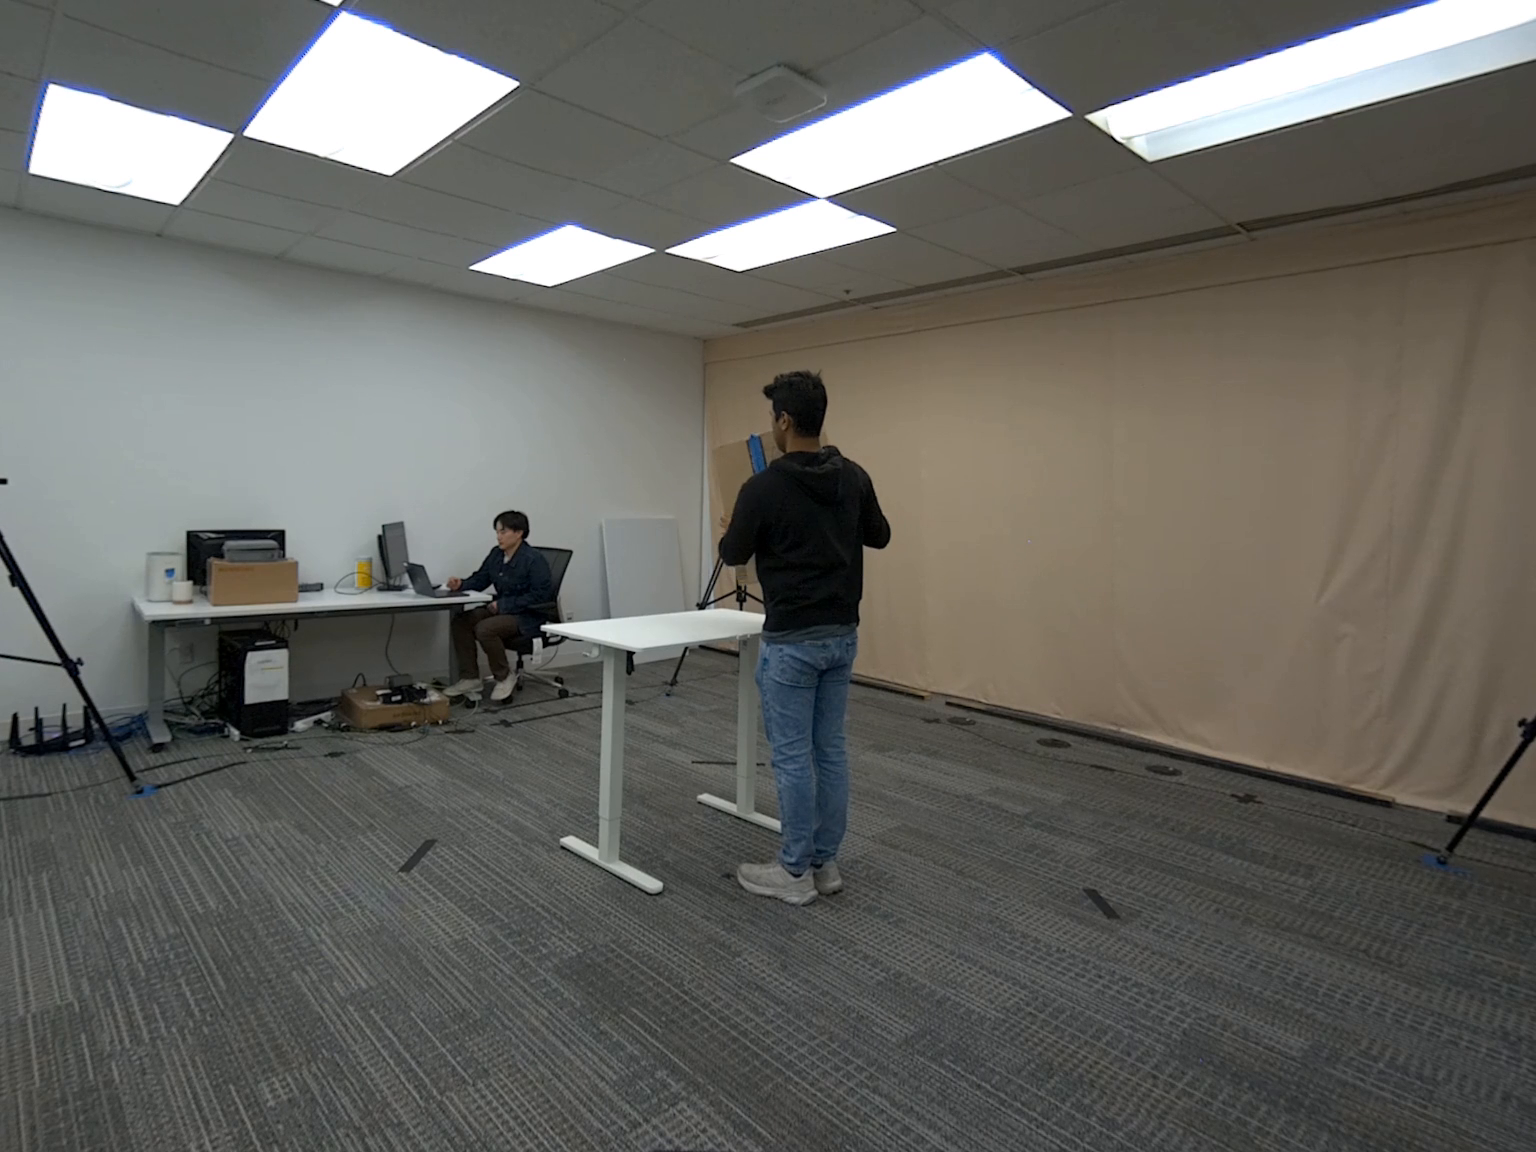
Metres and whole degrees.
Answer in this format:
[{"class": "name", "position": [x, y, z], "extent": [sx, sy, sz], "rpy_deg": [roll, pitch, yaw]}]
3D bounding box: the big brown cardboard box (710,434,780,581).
[{"class": "big brown cardboard box", "position": [0.048, -0.268, 3.340], "extent": [0.424, 0.591, 0.228], "rpy_deg": [-13, -4, 32]}]
